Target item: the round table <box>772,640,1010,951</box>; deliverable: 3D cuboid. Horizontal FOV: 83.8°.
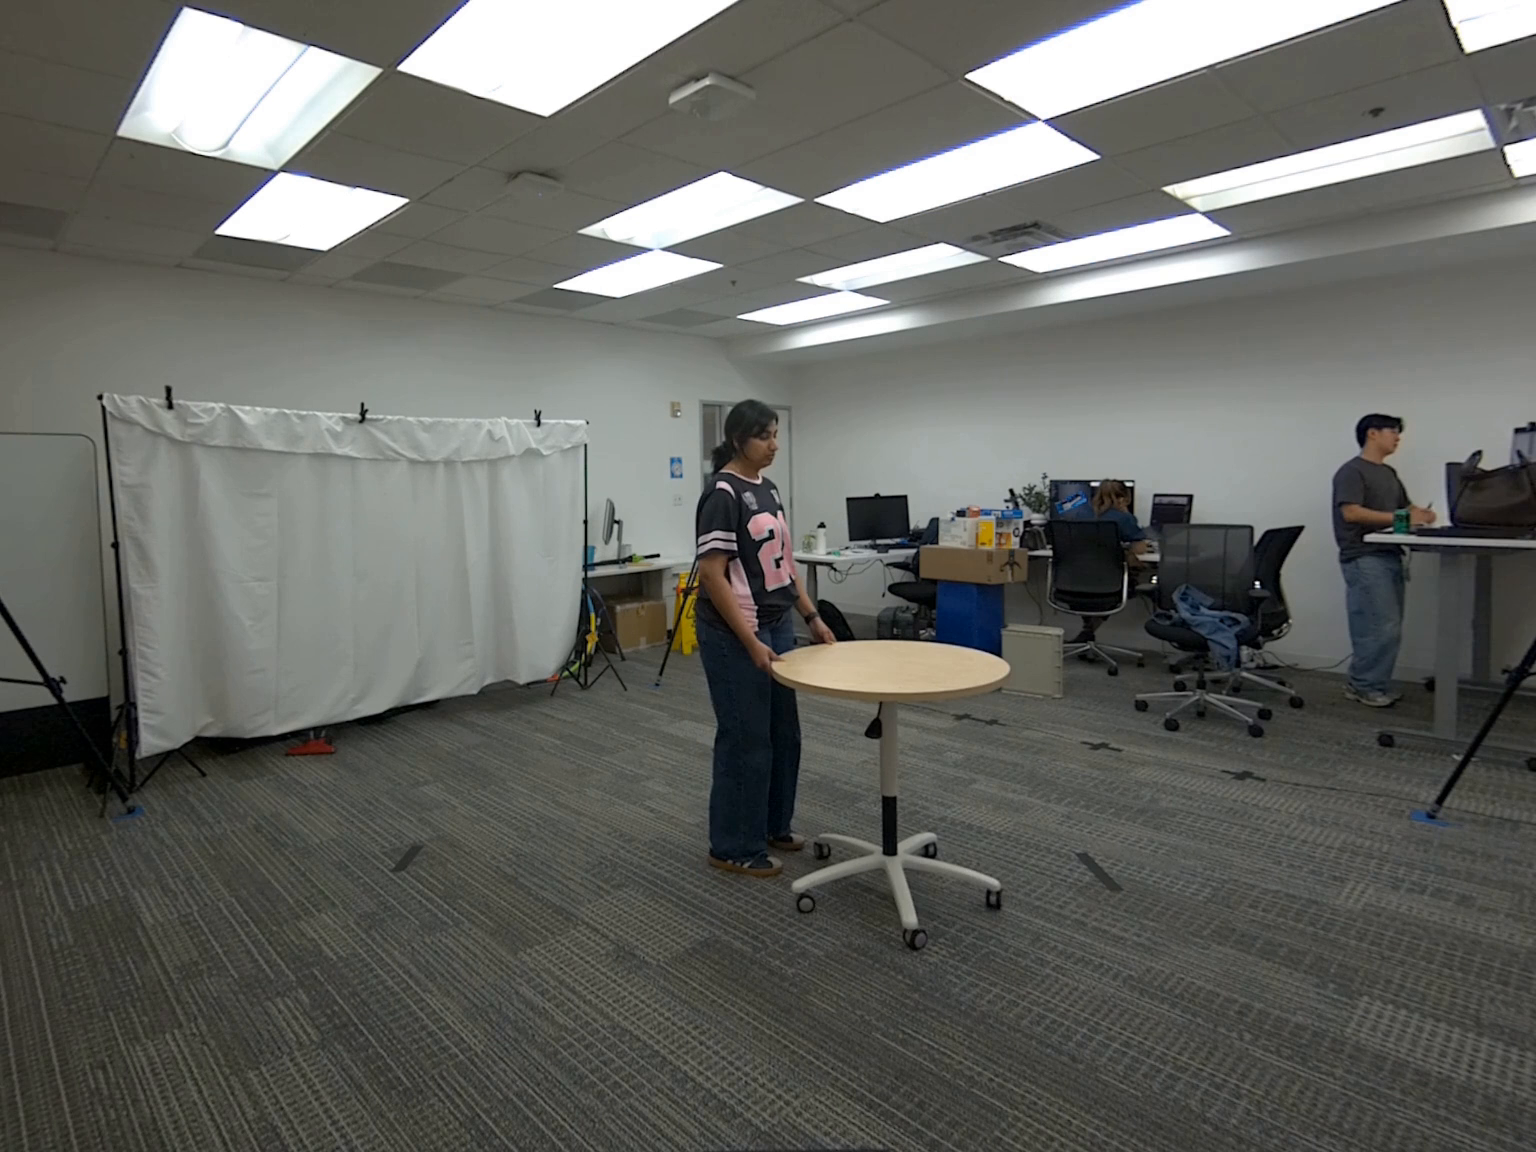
[{"bbox_3d":[0.402,0.674,2.852,0.784,0.783,0.790,-1,6,-2],"label":"round table"}]
